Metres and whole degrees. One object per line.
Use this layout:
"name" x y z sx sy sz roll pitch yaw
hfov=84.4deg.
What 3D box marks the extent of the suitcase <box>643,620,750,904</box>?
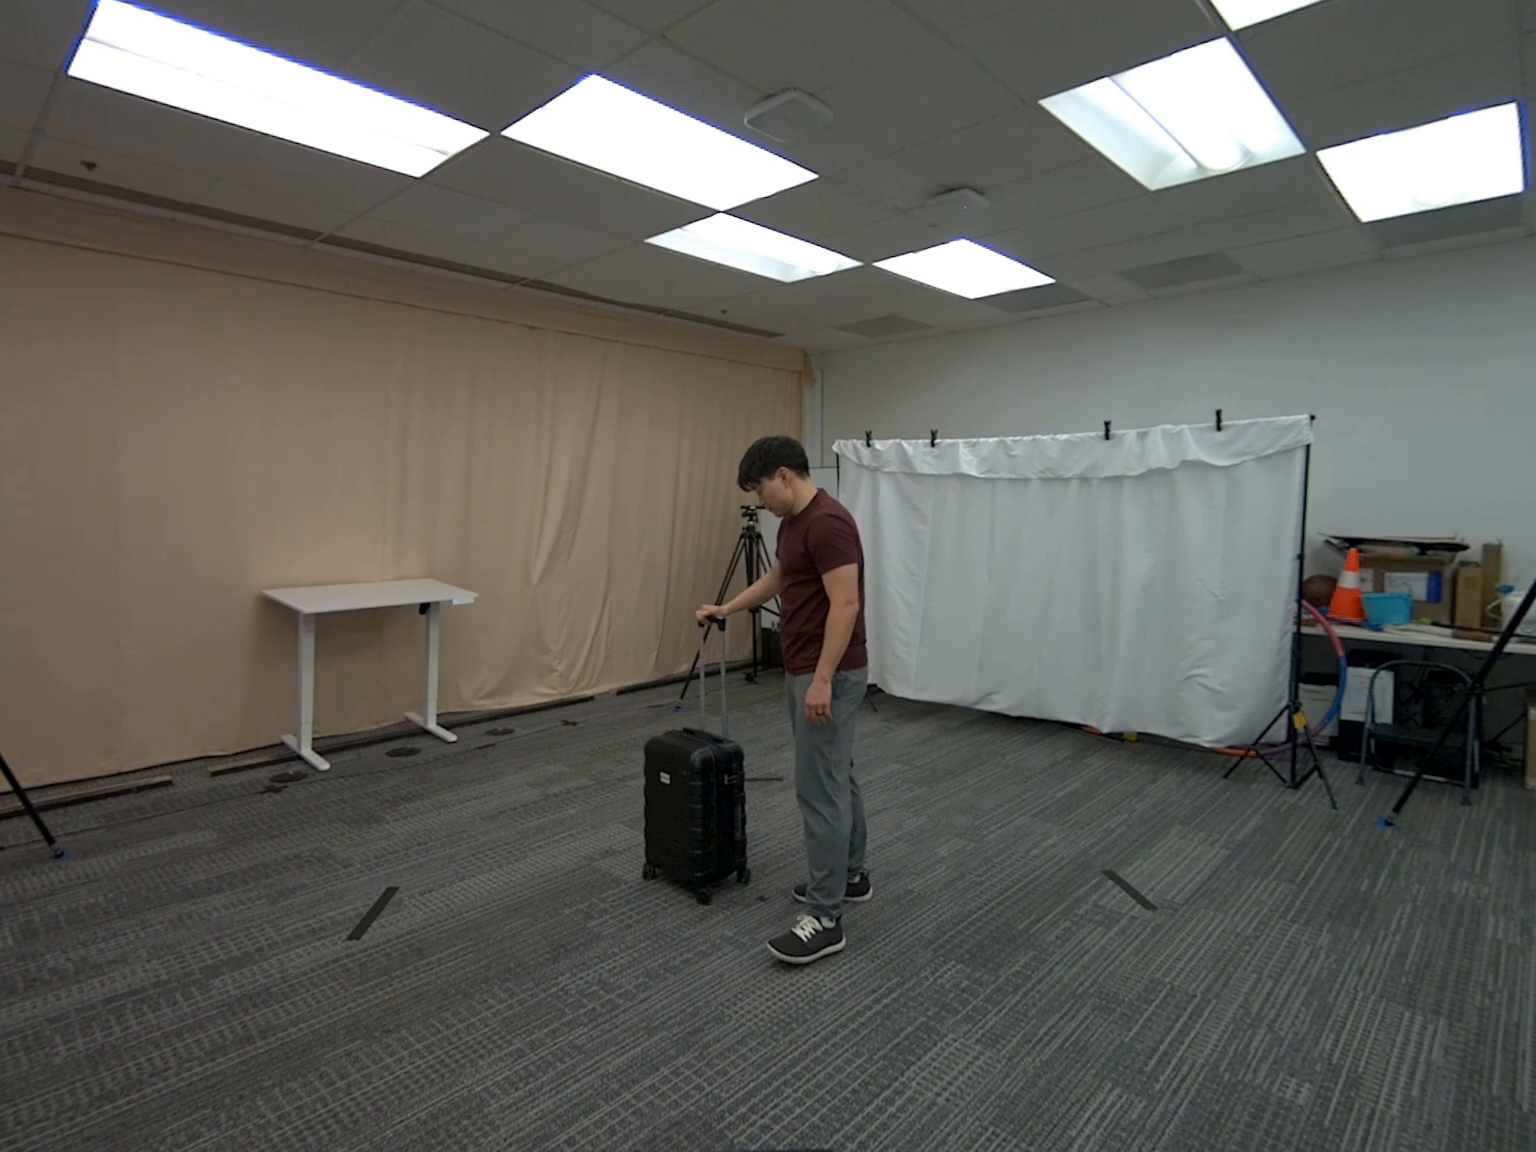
"suitcase" -0.278 0.658 3.109 0.249 0.976 0.396 -5 5 -42
